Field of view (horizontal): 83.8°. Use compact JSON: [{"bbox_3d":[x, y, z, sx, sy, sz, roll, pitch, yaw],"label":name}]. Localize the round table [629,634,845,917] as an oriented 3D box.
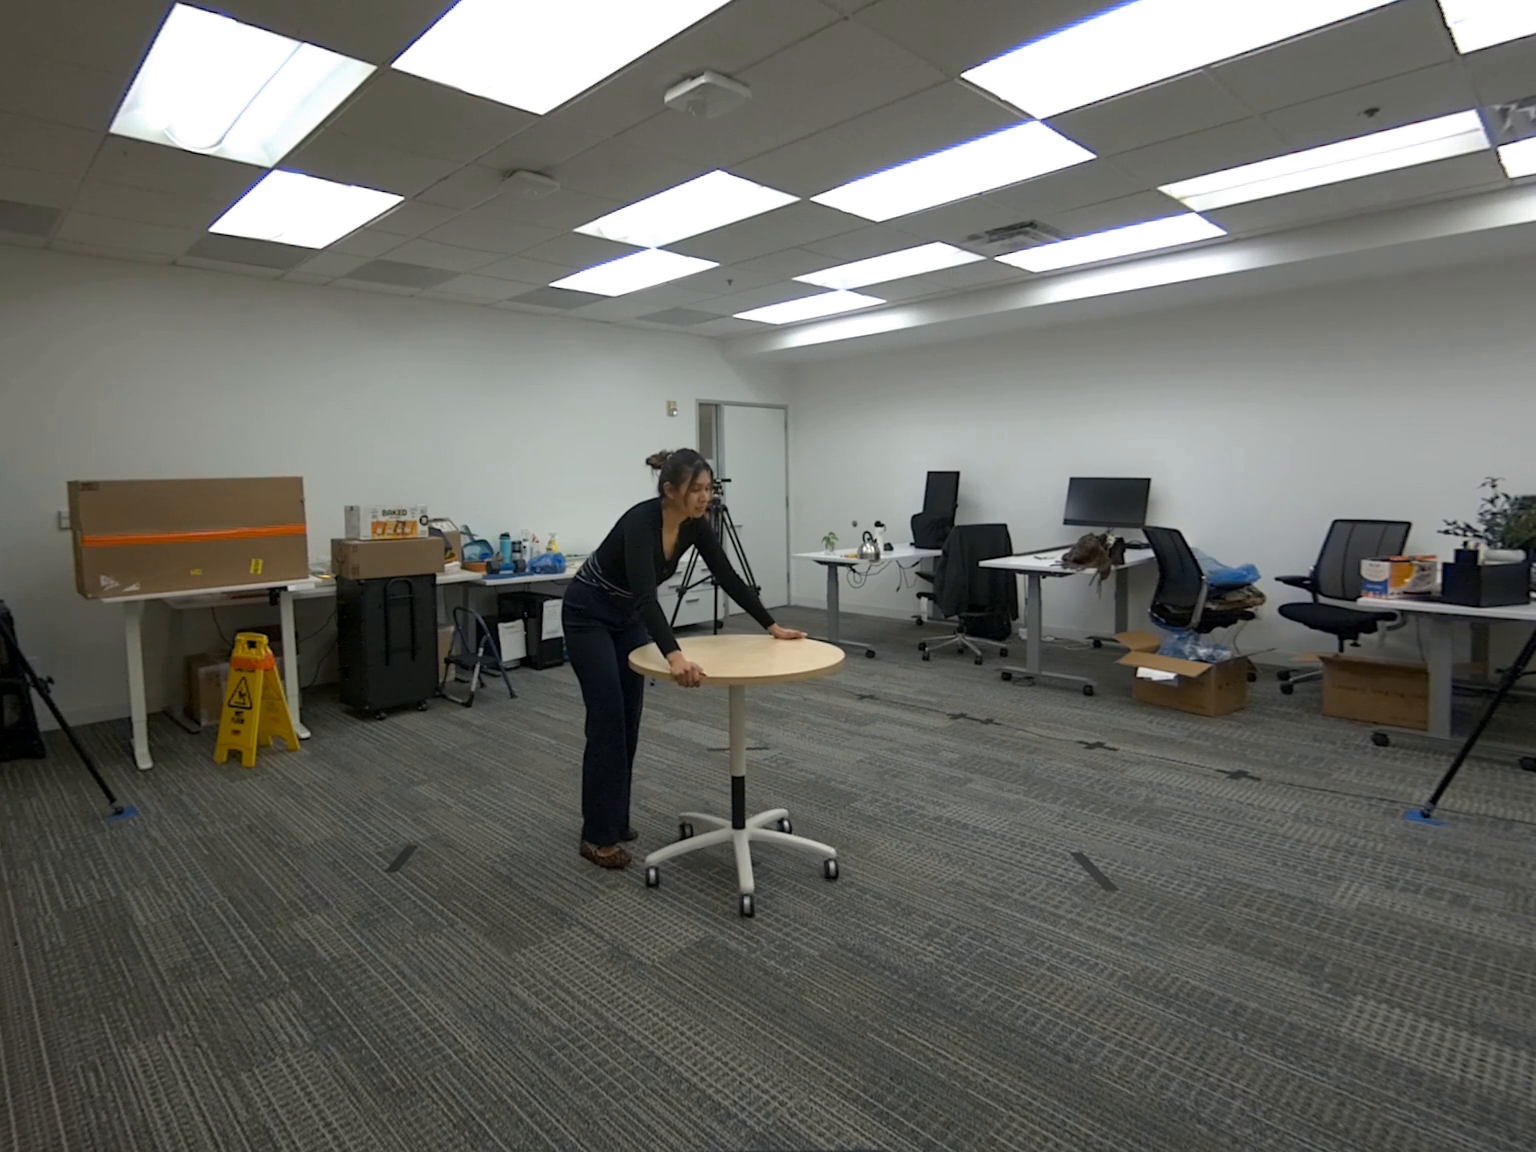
[{"bbox_3d":[-0.096,0.666,3.063,0.763,0.791,0.768,-1,4,-2],"label":"round table"}]
